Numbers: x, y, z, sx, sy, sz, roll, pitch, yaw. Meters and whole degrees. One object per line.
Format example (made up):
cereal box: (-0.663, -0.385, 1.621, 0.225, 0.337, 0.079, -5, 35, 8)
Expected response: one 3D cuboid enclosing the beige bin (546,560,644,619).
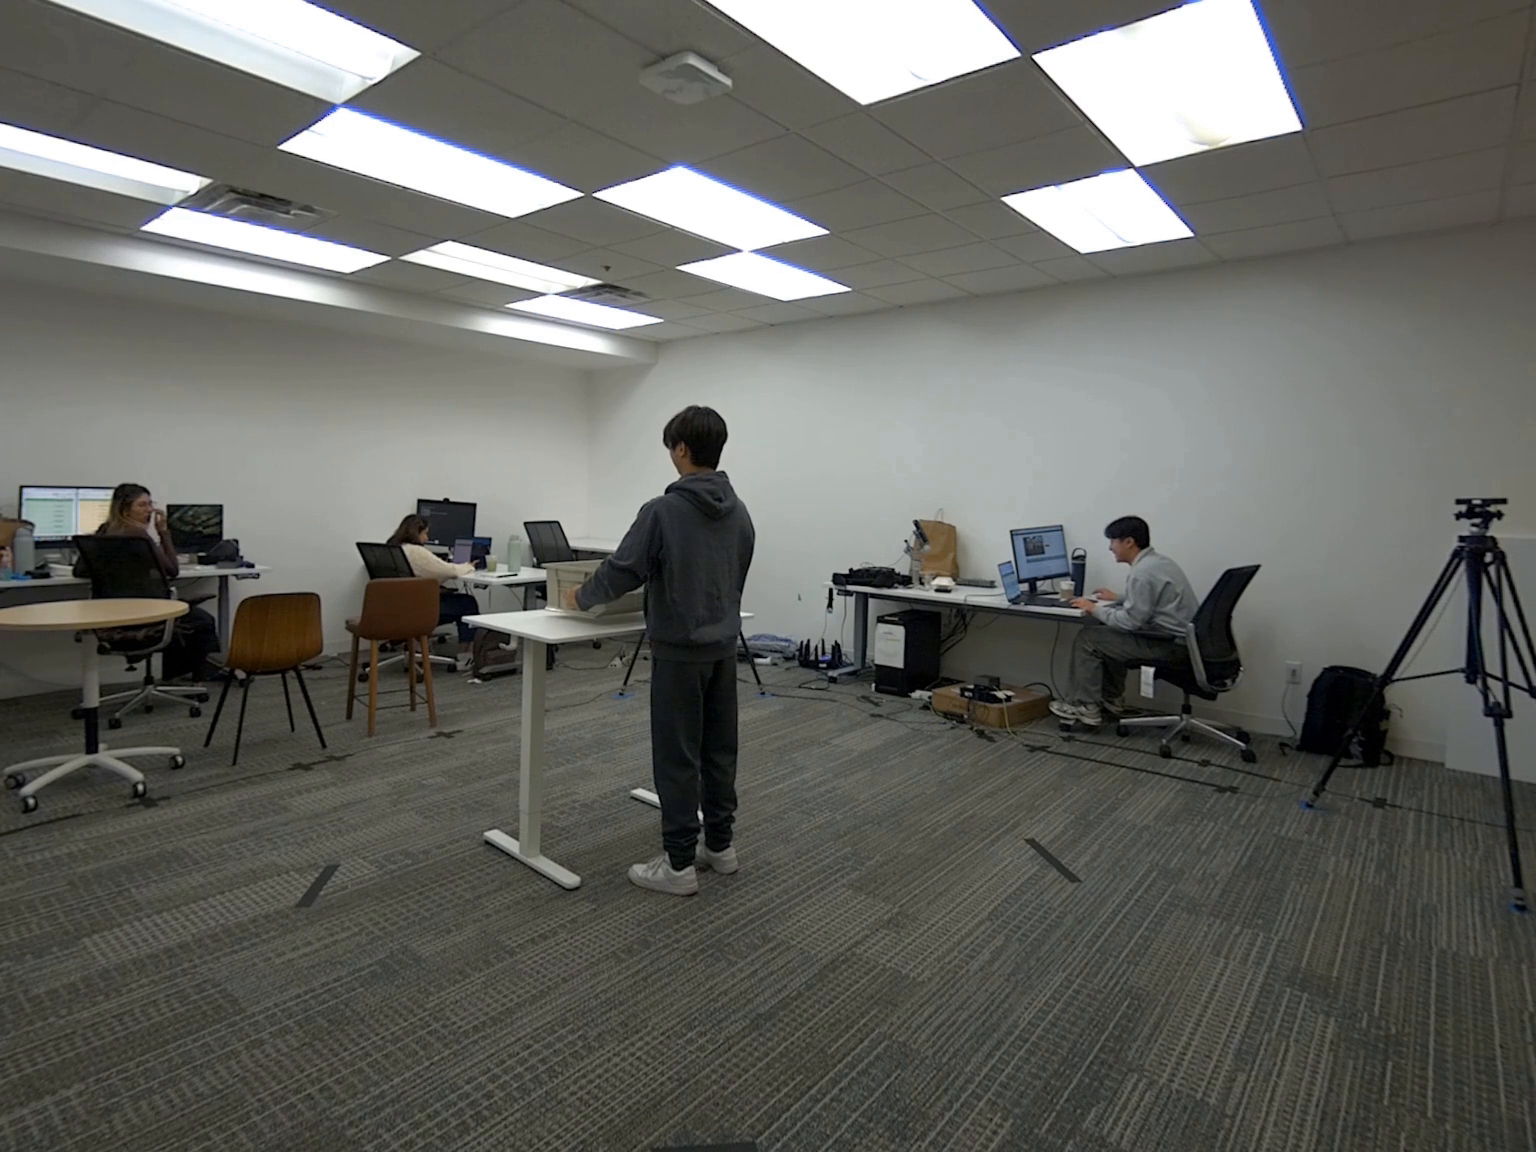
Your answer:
beige bin: (-0.621, 0.041, 3.342, 0.390, 0.188, 0.410, 4, 6, 41)
